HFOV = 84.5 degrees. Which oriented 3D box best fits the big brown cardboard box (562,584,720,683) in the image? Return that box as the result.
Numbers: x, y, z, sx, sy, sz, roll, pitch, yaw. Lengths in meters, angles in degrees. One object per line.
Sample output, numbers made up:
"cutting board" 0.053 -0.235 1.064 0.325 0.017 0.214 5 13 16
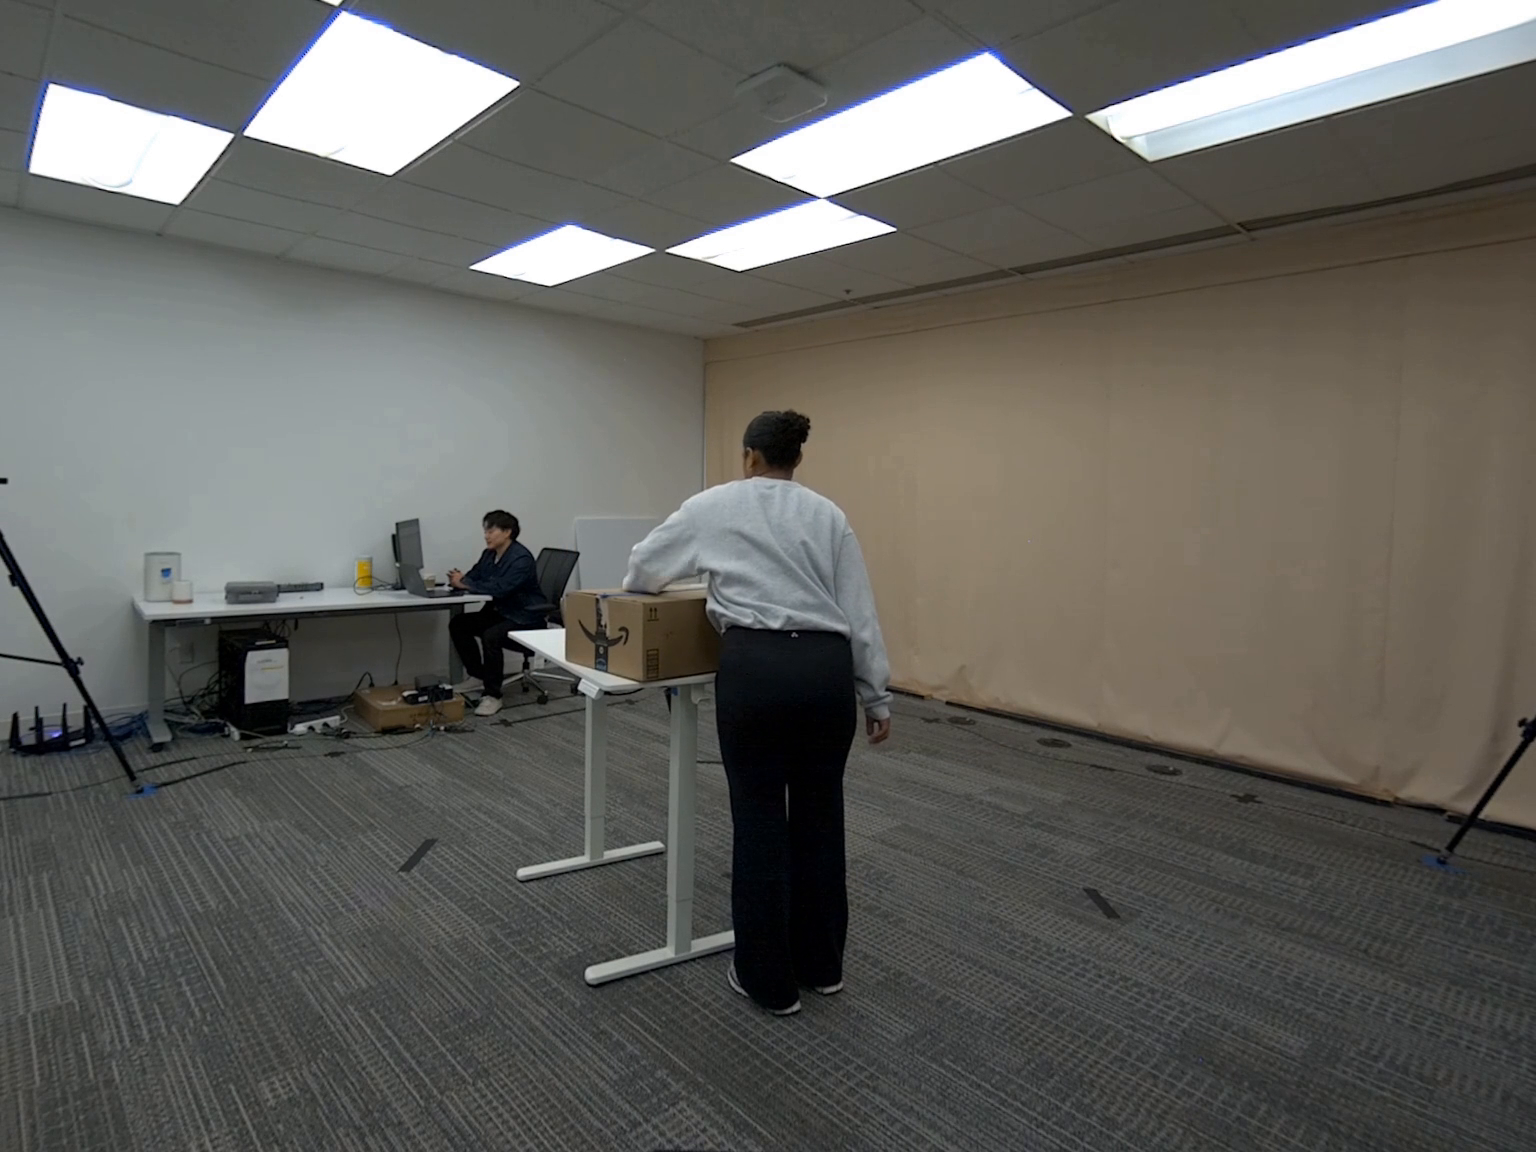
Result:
"big brown cardboard box" -0.273 0.159 2.596 0.576 0.232 0.428 -5 6 -43
